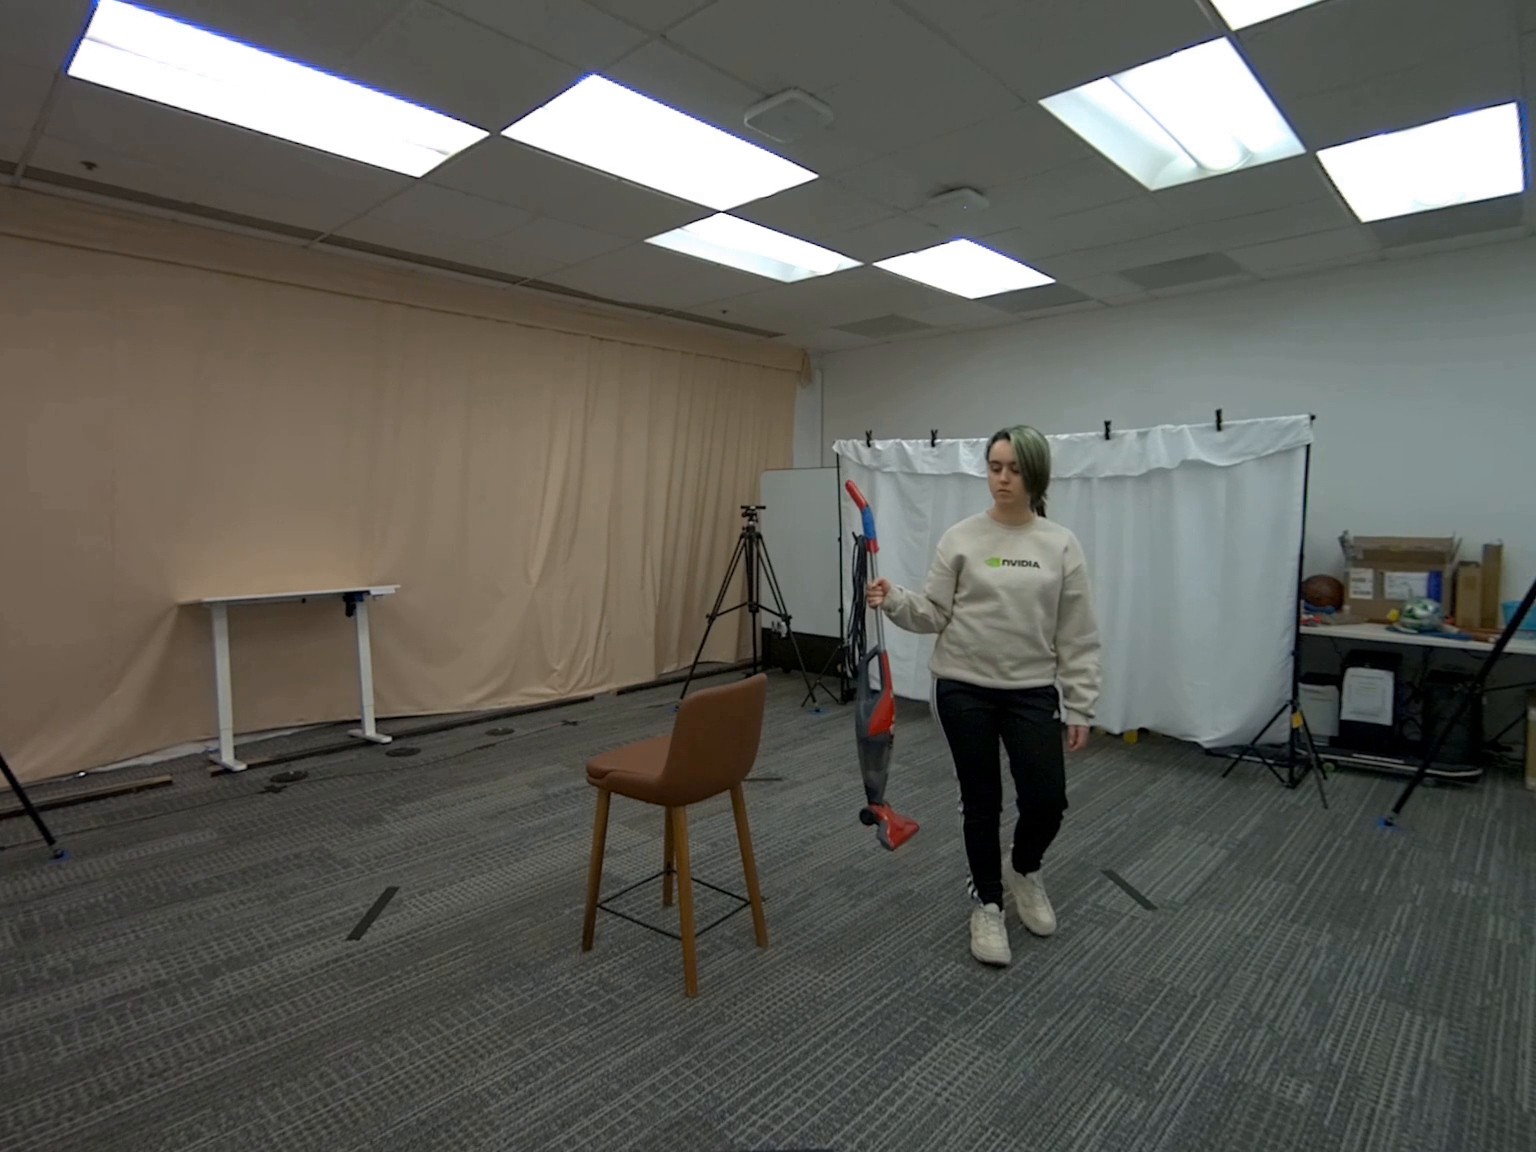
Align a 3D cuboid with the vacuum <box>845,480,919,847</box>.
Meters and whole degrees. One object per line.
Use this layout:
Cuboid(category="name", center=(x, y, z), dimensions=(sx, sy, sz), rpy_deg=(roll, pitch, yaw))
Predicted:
Cuboid(category="vacuum", center=(0.321, 0.233, 2.602), dimensions=(0.147, 1.054, 0.247), rpy_deg=(-9, -6, 20))
